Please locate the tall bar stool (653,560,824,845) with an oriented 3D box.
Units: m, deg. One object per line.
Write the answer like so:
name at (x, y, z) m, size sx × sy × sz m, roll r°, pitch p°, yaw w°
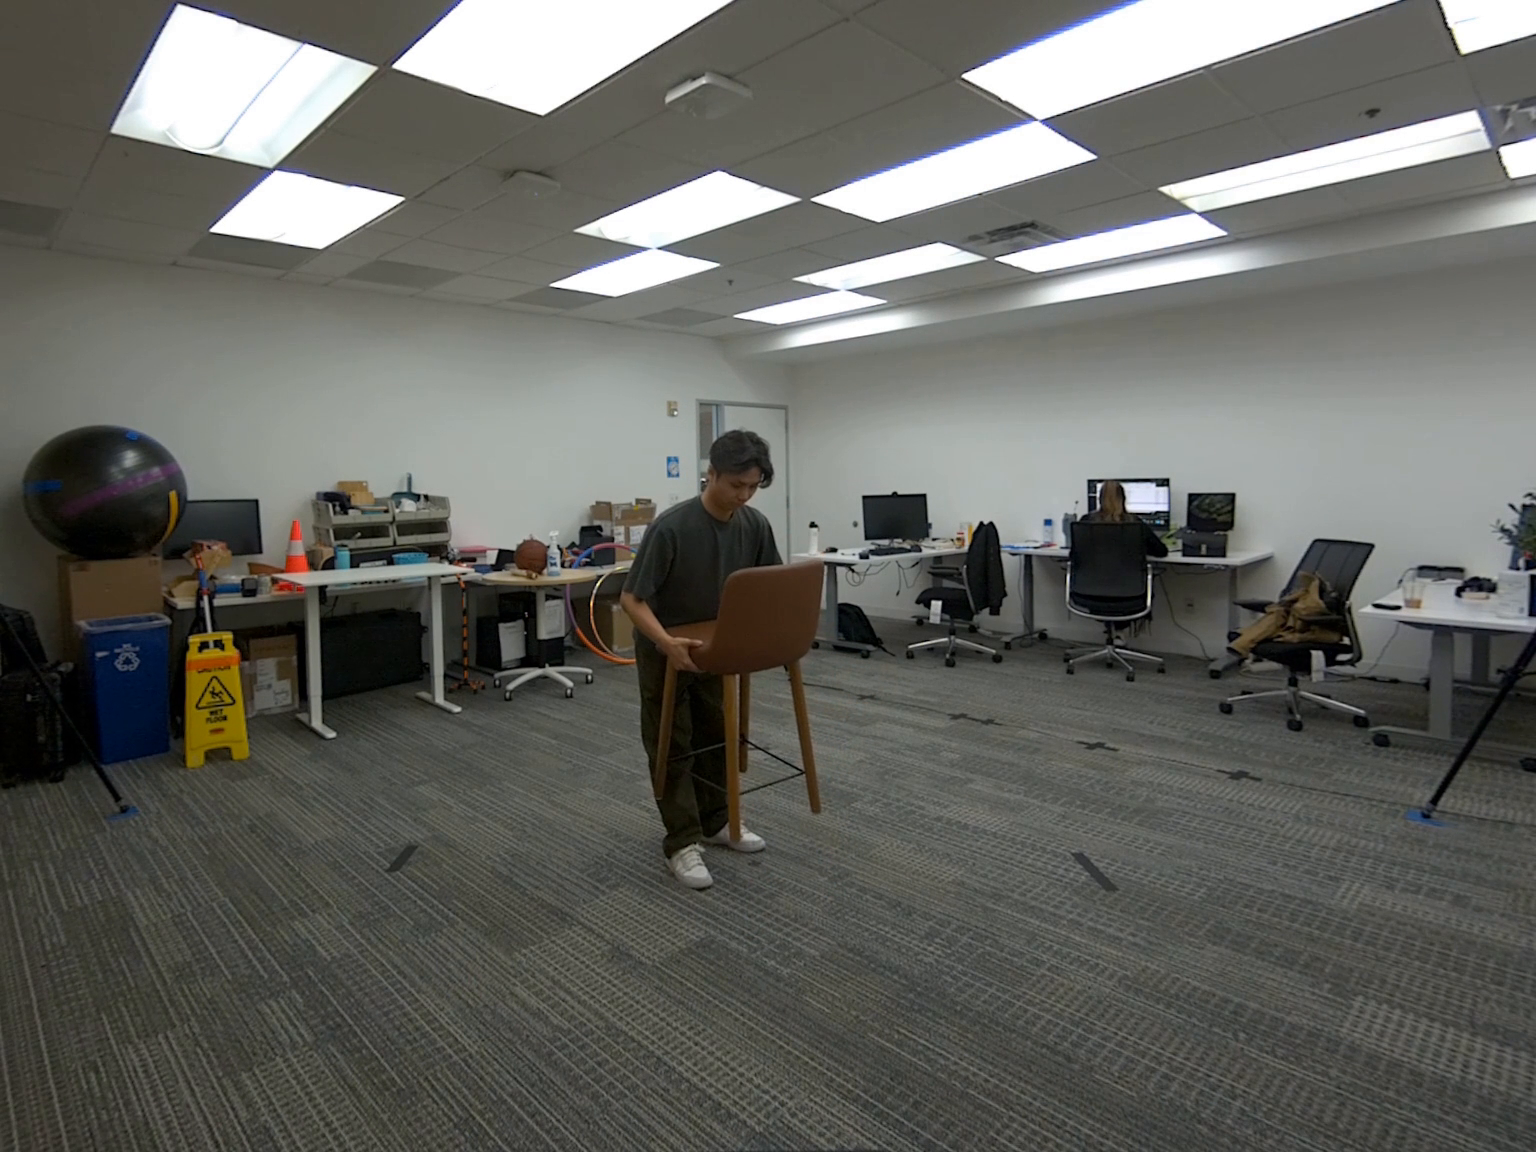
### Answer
tall bar stool at (-0.088, 0.372, 2.886) m, size 0.445 × 0.882 × 0.483 m, roll -6°, pitch 12°, yaw -38°
